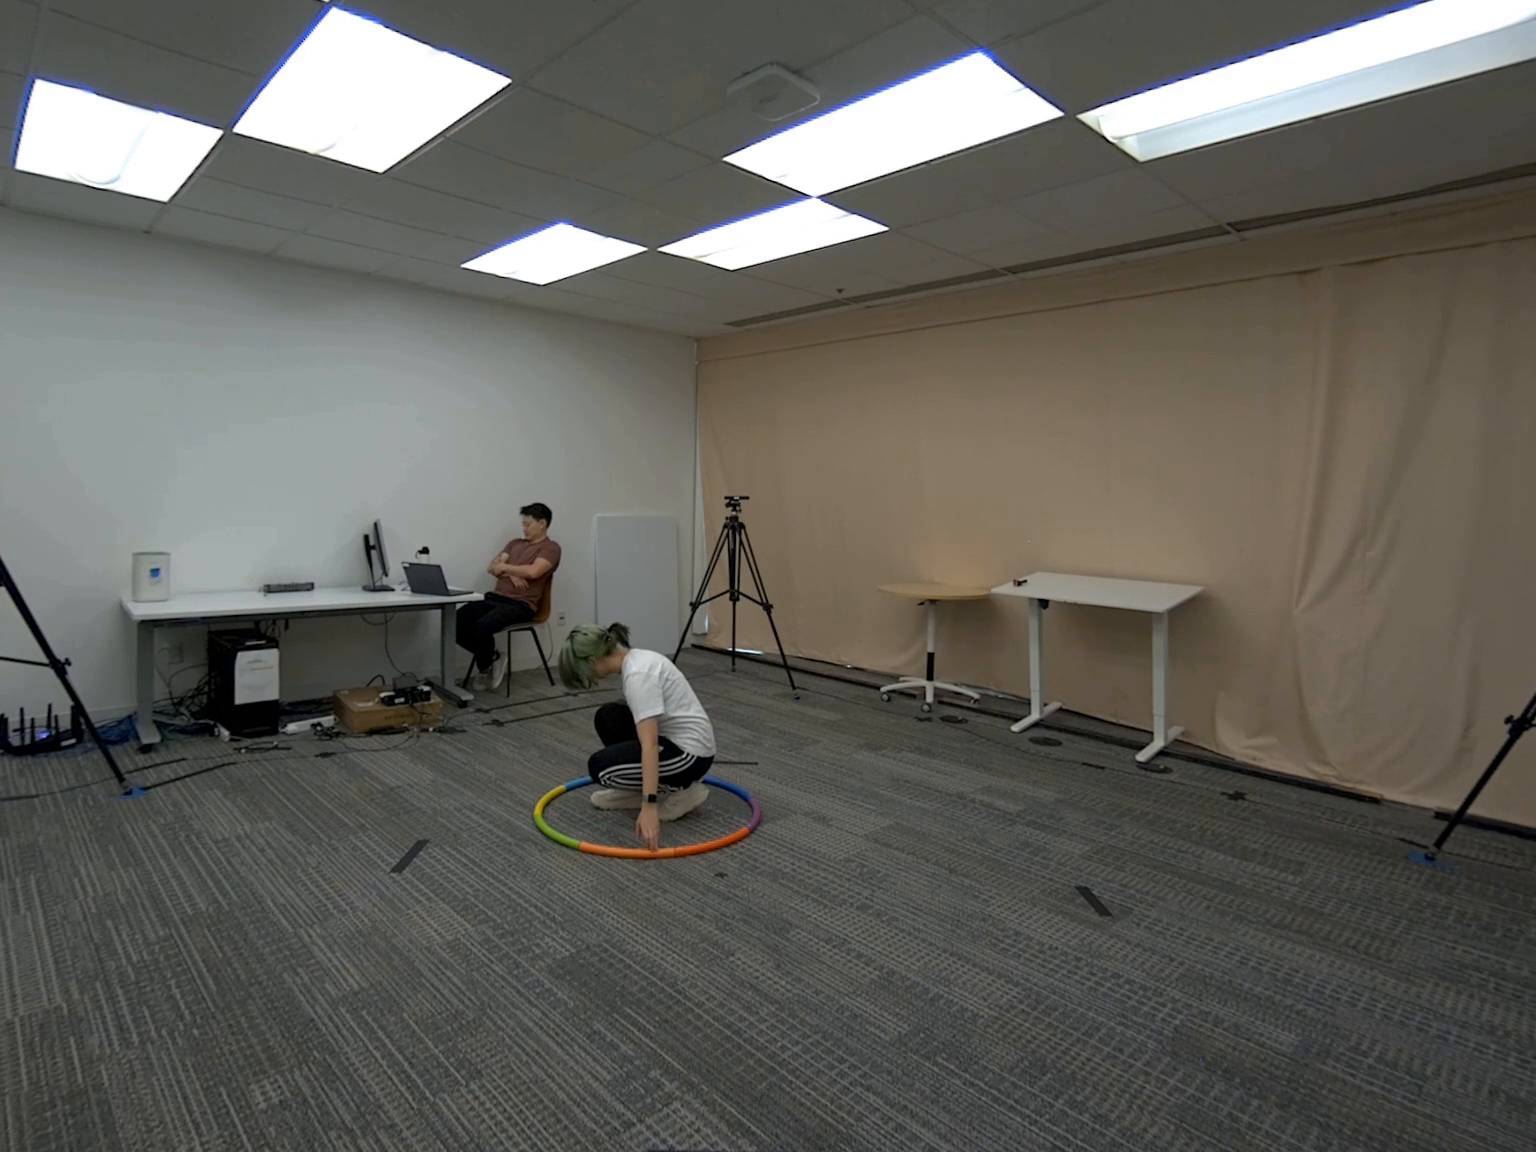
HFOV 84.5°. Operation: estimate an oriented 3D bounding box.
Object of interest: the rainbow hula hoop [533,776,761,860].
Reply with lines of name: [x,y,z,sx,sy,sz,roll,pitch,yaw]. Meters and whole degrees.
rainbow hula hoop: [-0.530,1.014,3.705,0.985,0.051,0.989,2,5,-1]
